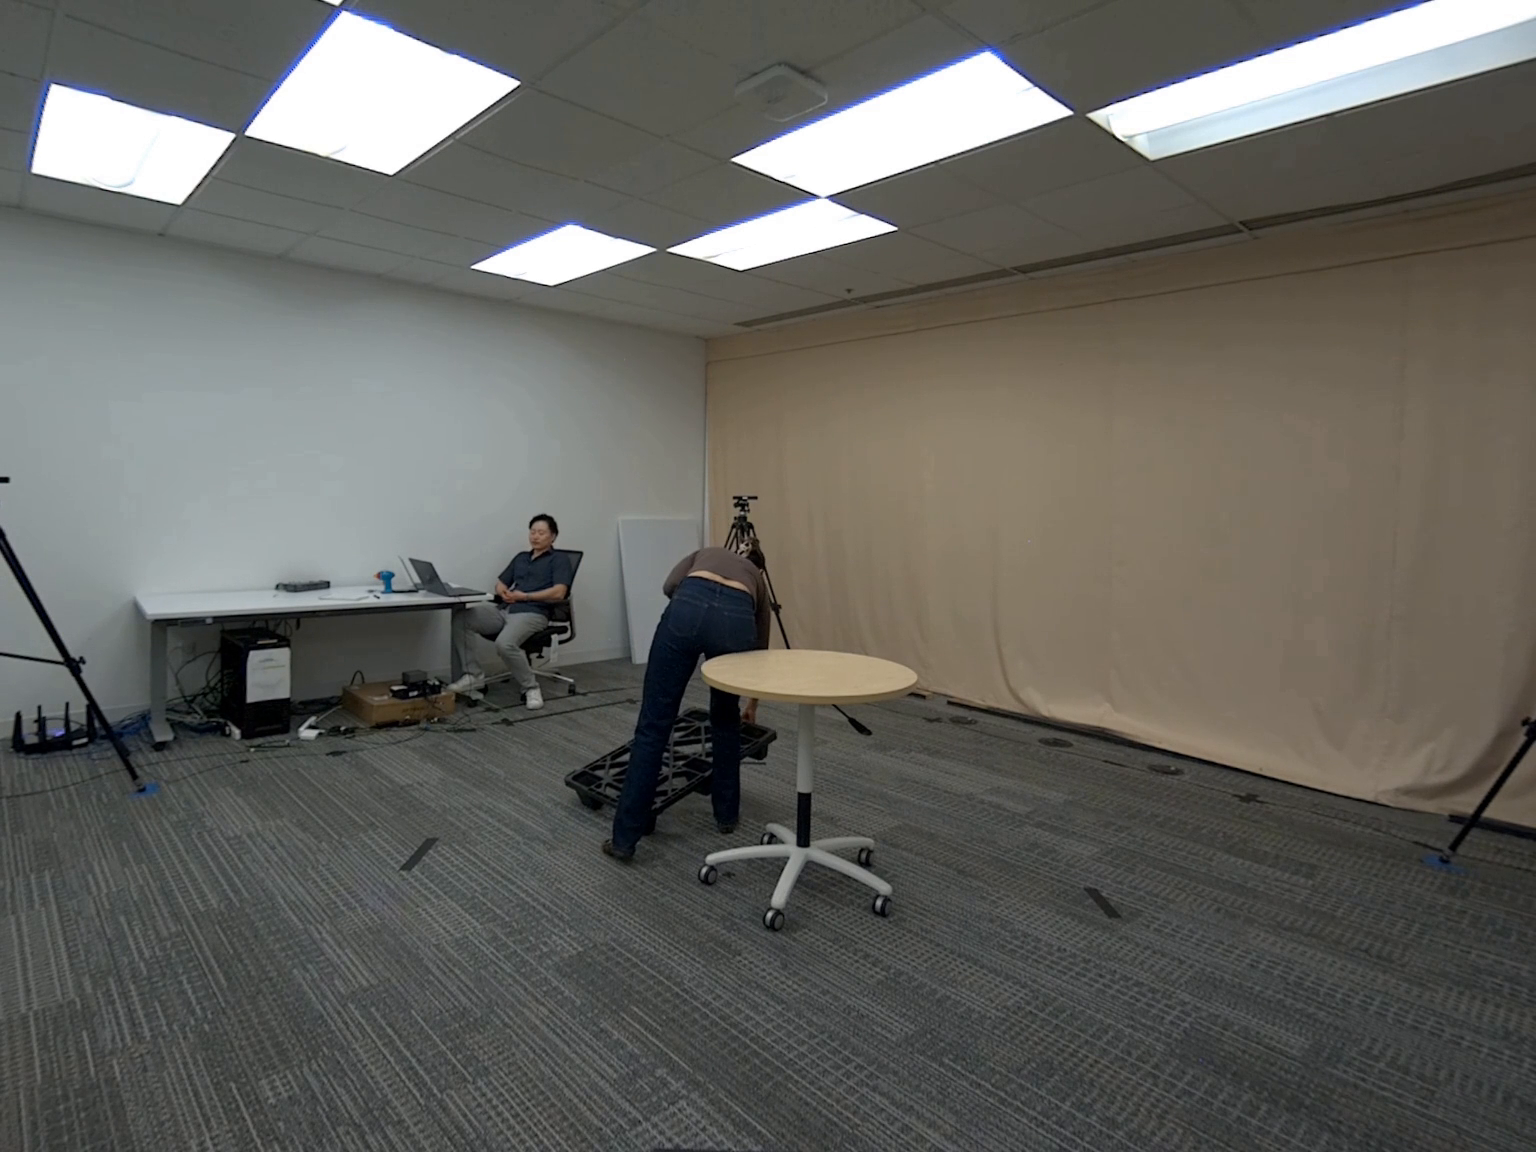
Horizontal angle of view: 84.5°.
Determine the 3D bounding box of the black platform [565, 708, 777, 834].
[{"bbox_3d":[-0.433,0.870,3.835,0.621,0.141,0.795,6,23,45],"label":"black platform"}]
